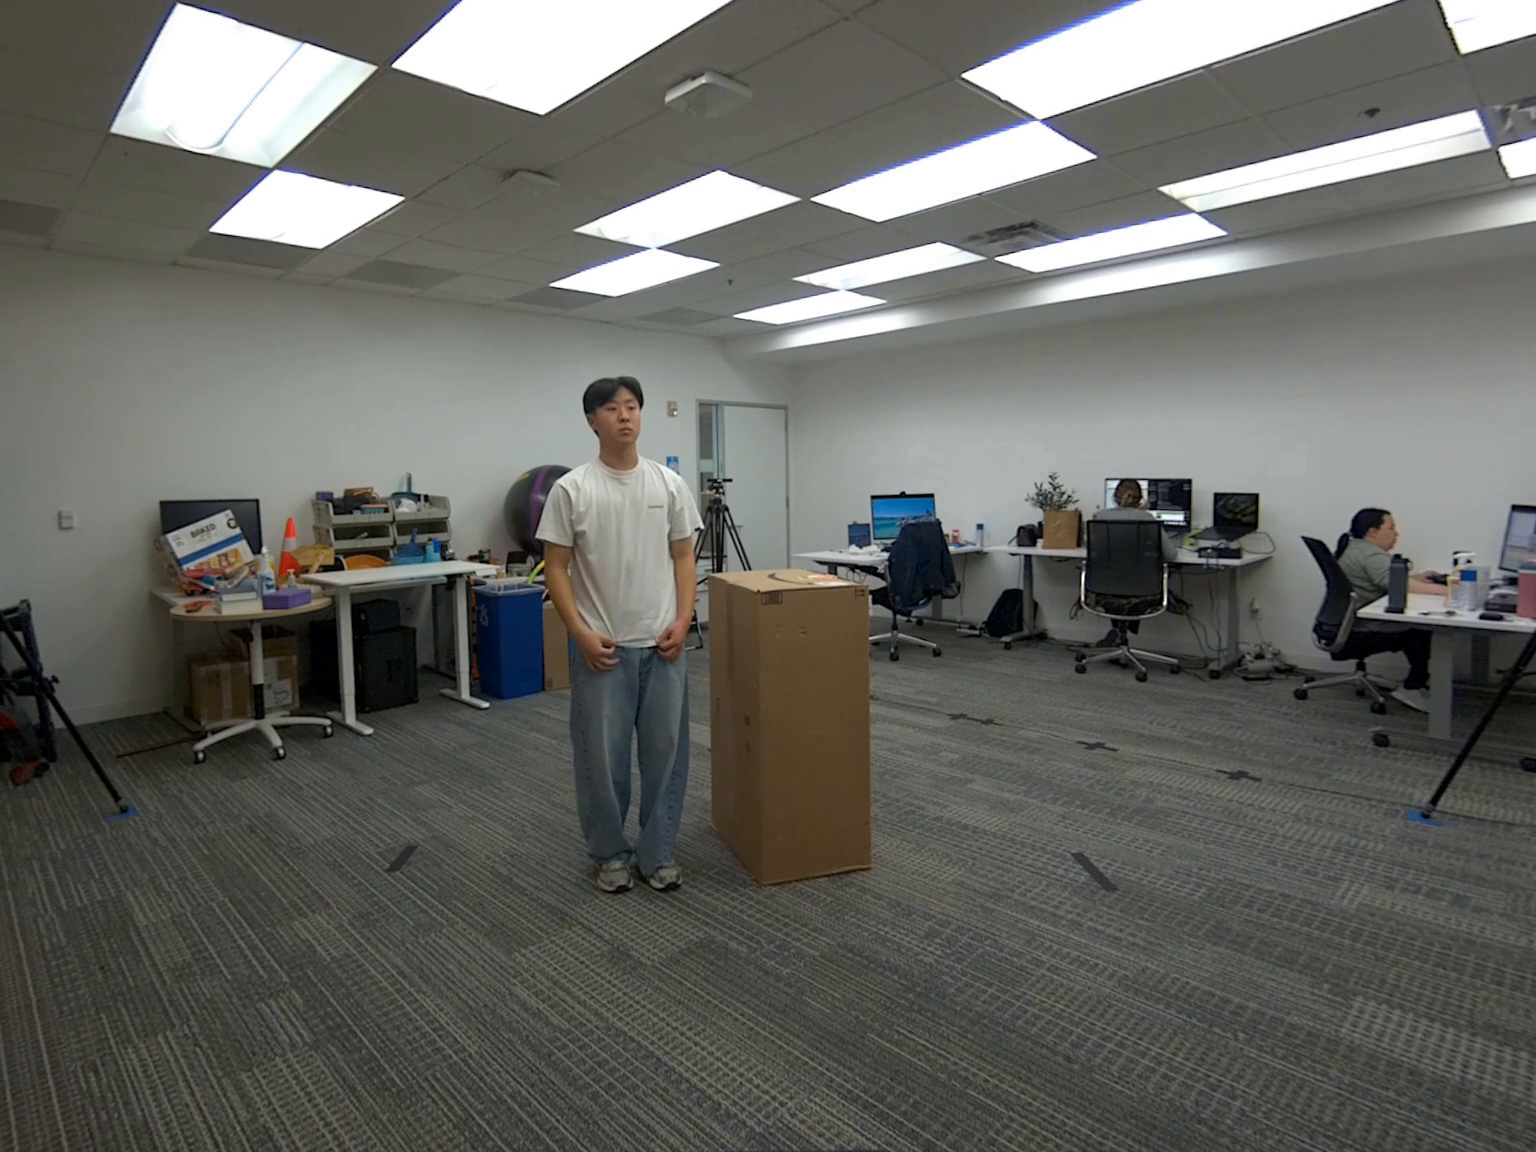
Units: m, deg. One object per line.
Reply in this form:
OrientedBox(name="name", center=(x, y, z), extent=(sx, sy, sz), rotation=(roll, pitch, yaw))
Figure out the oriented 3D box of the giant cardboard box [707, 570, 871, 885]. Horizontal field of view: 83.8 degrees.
OrientedBox(name="giant cardboard box", center=(0.069, 0.519, 3.231), extent=(0.418, 1.022, 0.590), rotation=(-2, 4, -21))
